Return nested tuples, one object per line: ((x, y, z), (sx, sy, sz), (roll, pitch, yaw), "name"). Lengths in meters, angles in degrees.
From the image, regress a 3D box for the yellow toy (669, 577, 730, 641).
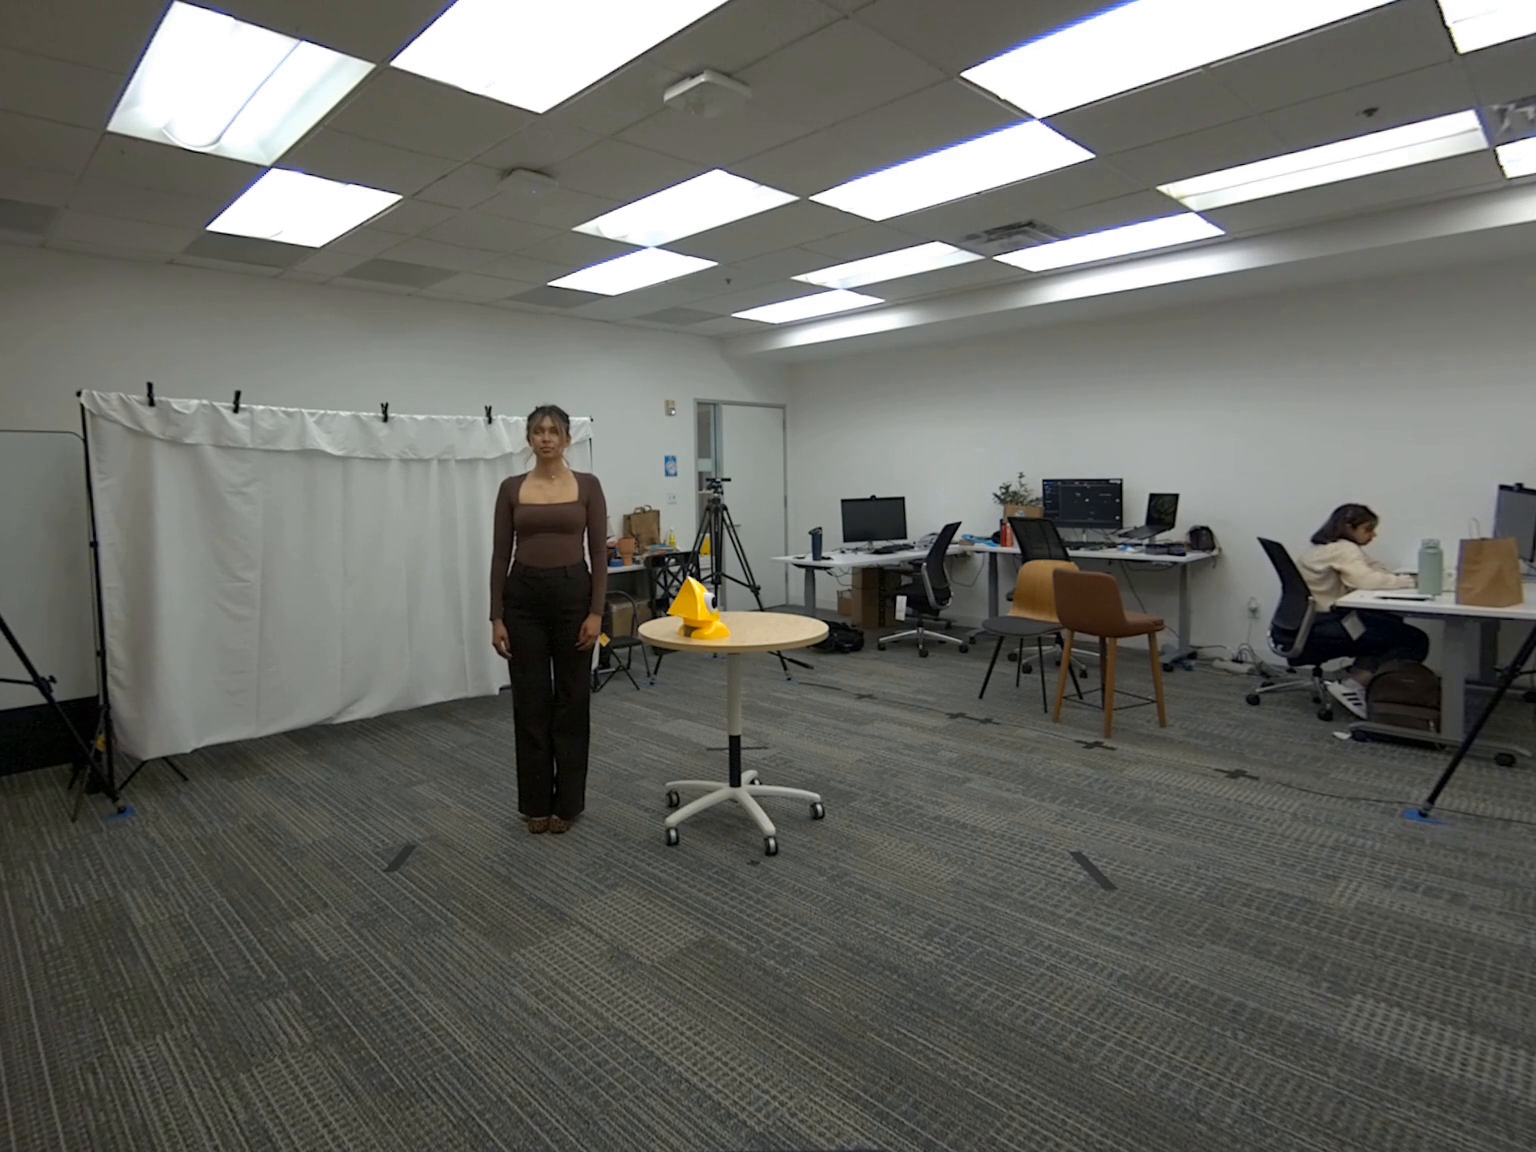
((-0.259, 0.112, 3.286), (0.188, 0.230, 0.211), (-4, 6, -40), "yellow toy")
